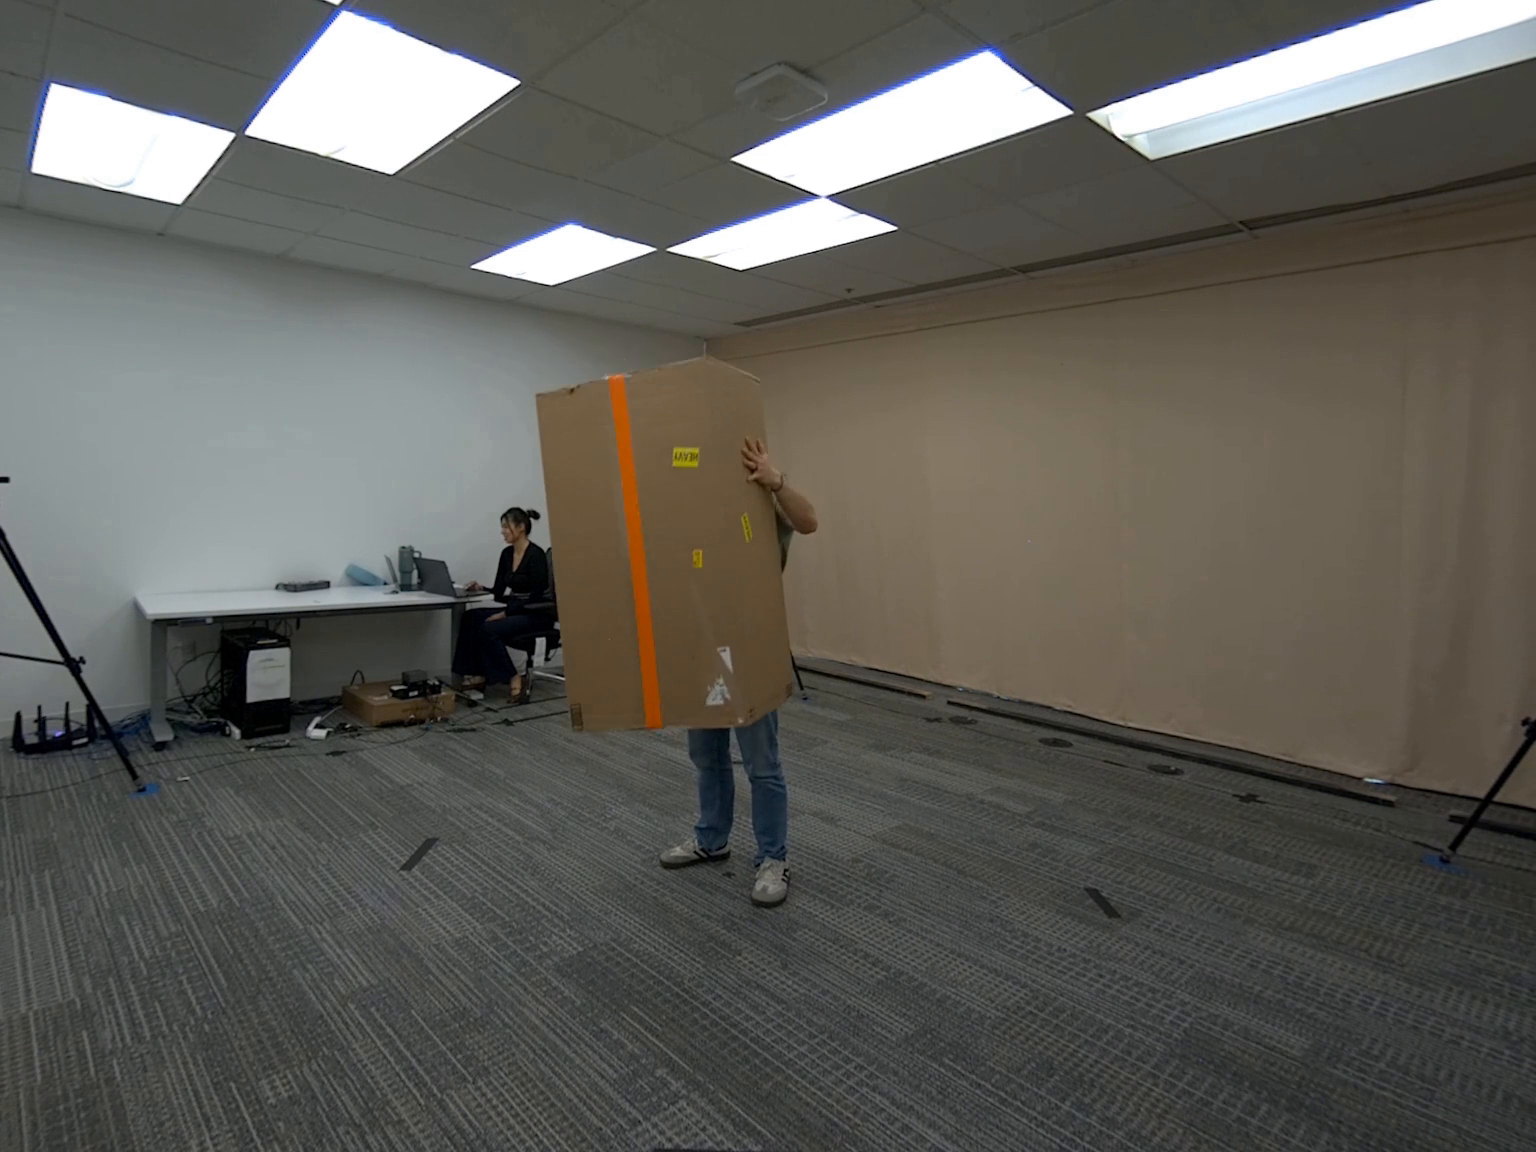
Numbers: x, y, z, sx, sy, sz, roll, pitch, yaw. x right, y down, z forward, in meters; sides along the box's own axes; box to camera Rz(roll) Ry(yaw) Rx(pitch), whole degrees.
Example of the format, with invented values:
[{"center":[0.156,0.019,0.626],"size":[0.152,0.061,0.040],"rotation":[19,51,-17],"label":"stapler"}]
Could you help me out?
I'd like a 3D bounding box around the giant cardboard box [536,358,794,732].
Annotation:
[{"center":[-0.312,-0.088,2.606],"size":[0.586,1.027,0.420],"rotation":[-7,-1,22],"label":"giant cardboard box"}]
